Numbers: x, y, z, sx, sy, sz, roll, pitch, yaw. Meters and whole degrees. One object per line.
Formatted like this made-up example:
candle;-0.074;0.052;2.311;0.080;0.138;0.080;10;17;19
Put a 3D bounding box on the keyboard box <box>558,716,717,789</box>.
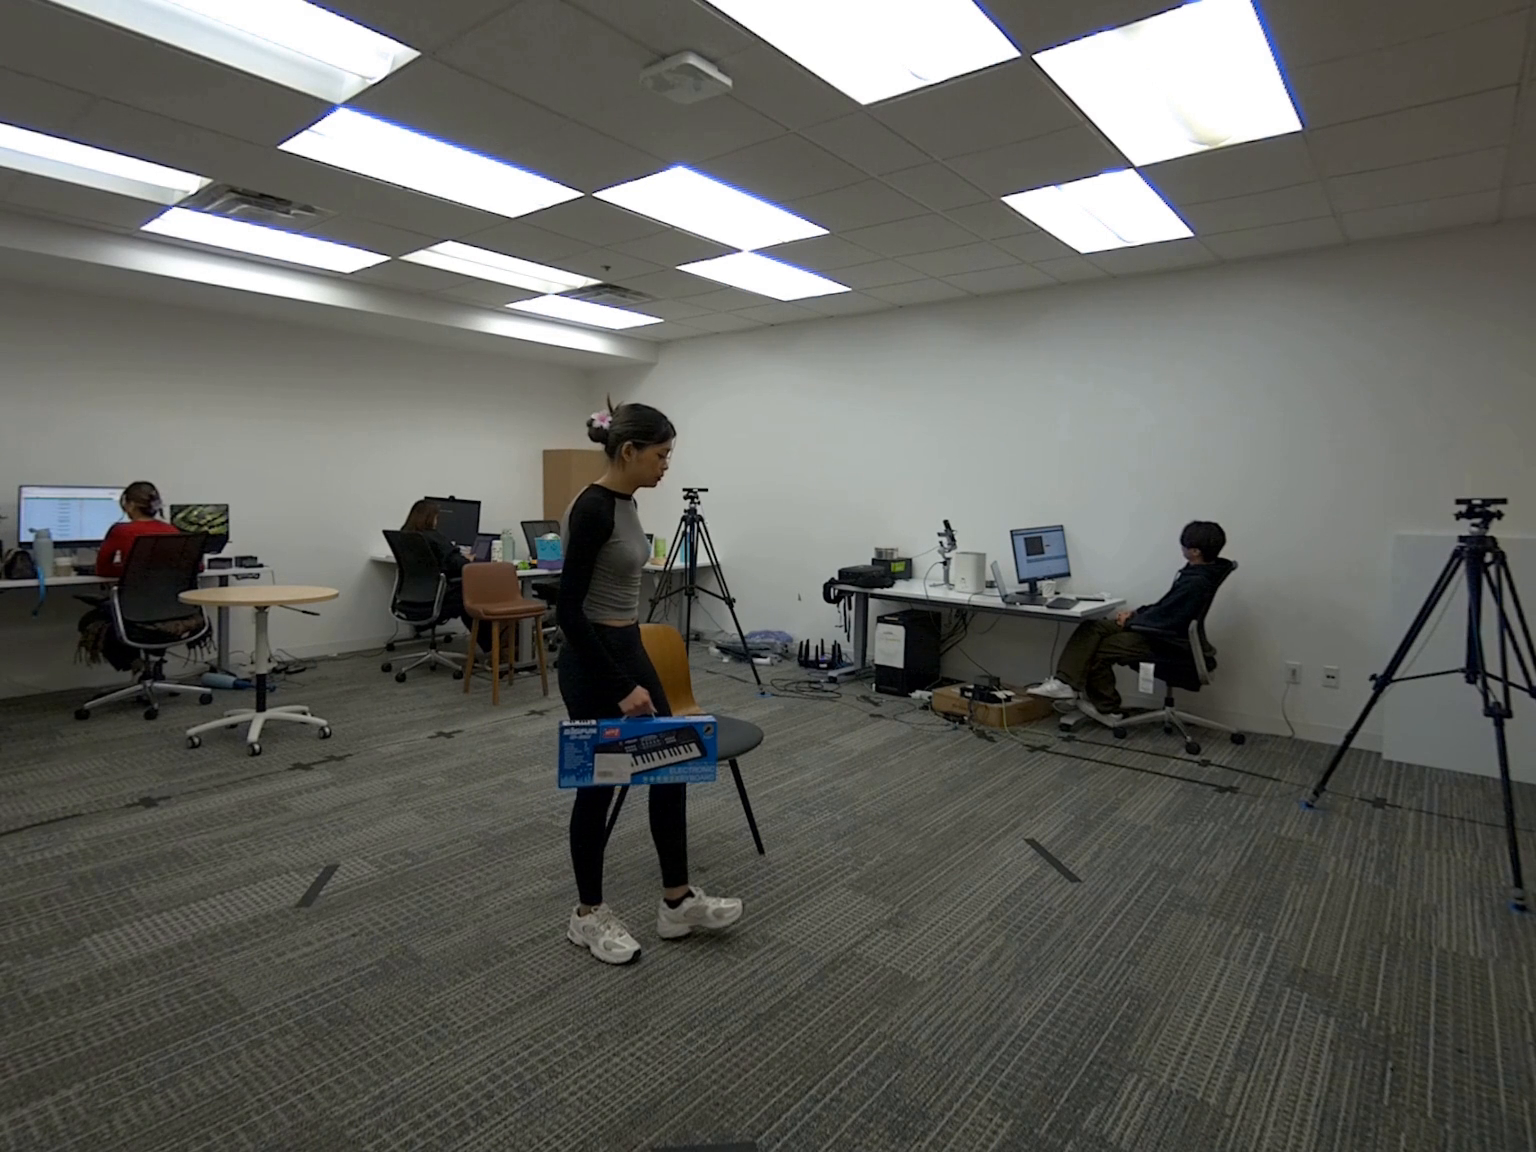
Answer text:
keyboard box;-0.369;0.477;2.369;0.431;0.176;0.060;1;1;-12
